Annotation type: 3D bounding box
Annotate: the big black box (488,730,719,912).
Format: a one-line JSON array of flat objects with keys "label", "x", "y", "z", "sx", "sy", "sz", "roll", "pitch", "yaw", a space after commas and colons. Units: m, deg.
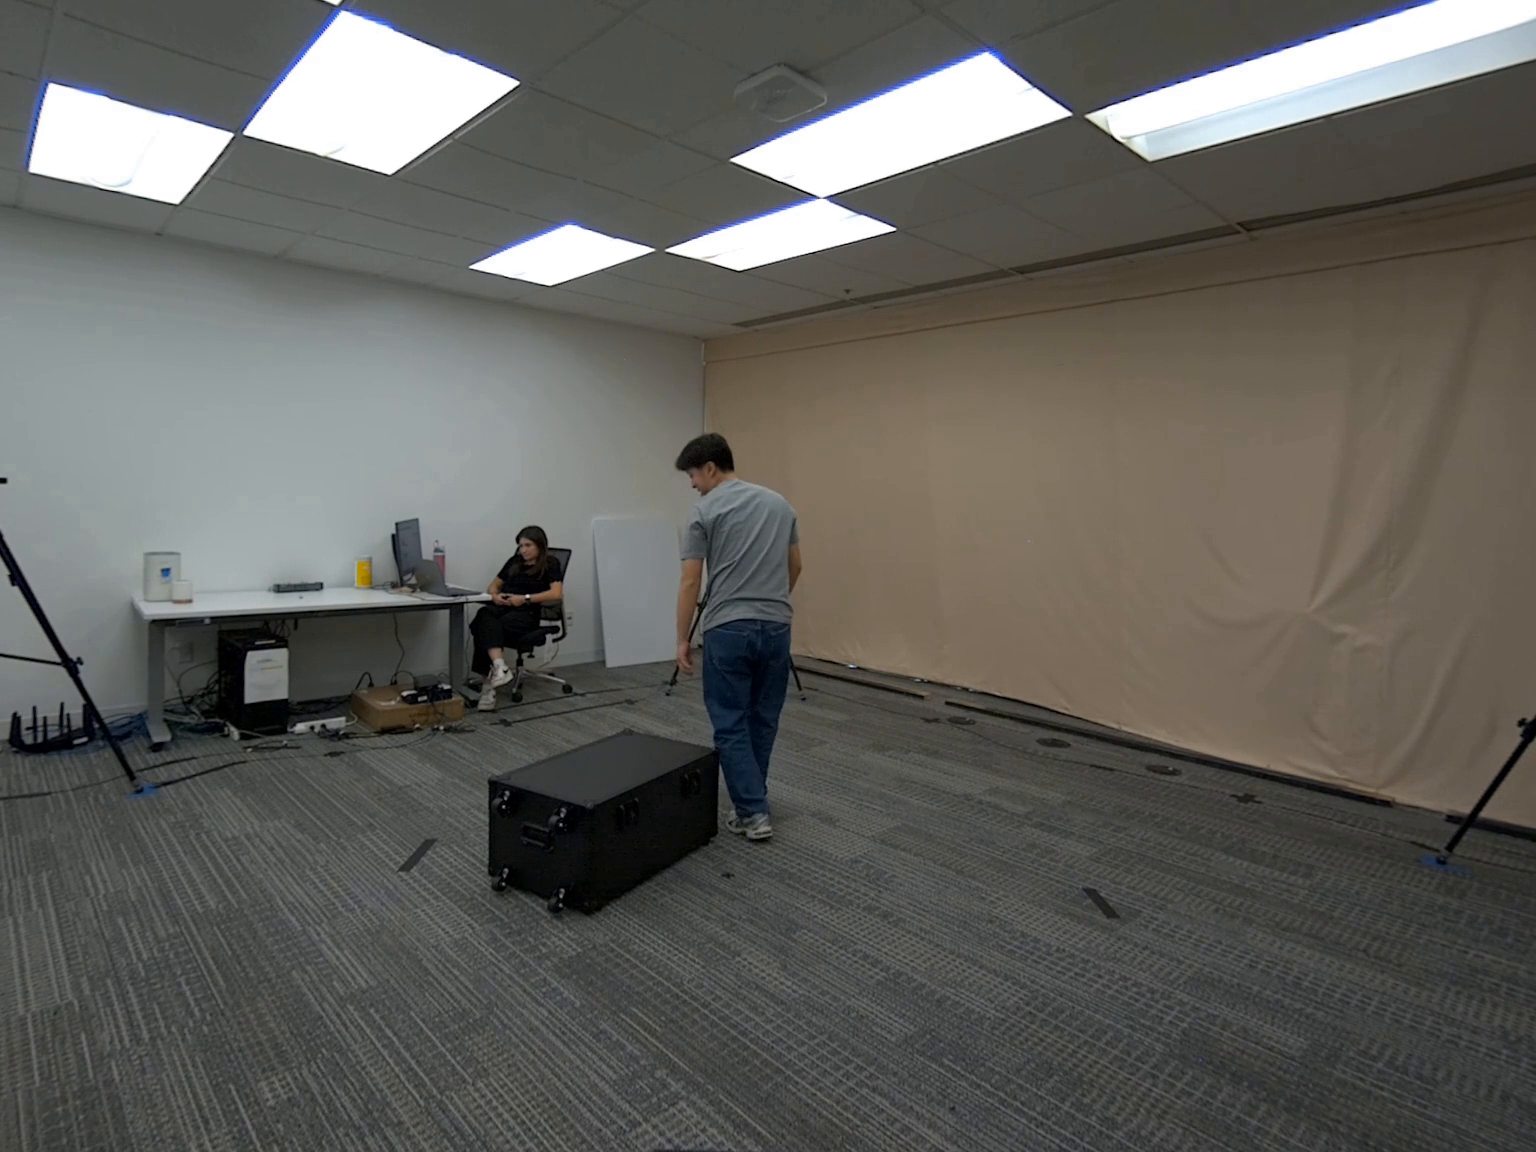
[{"label": "big black box", "x": -0.624, "y": 0.897, "z": 3.176, "sx": 0.533, "sy": 0.395, "sz": 0.845, "roll": 5, "pitch": 6, "yaw": 30}]
